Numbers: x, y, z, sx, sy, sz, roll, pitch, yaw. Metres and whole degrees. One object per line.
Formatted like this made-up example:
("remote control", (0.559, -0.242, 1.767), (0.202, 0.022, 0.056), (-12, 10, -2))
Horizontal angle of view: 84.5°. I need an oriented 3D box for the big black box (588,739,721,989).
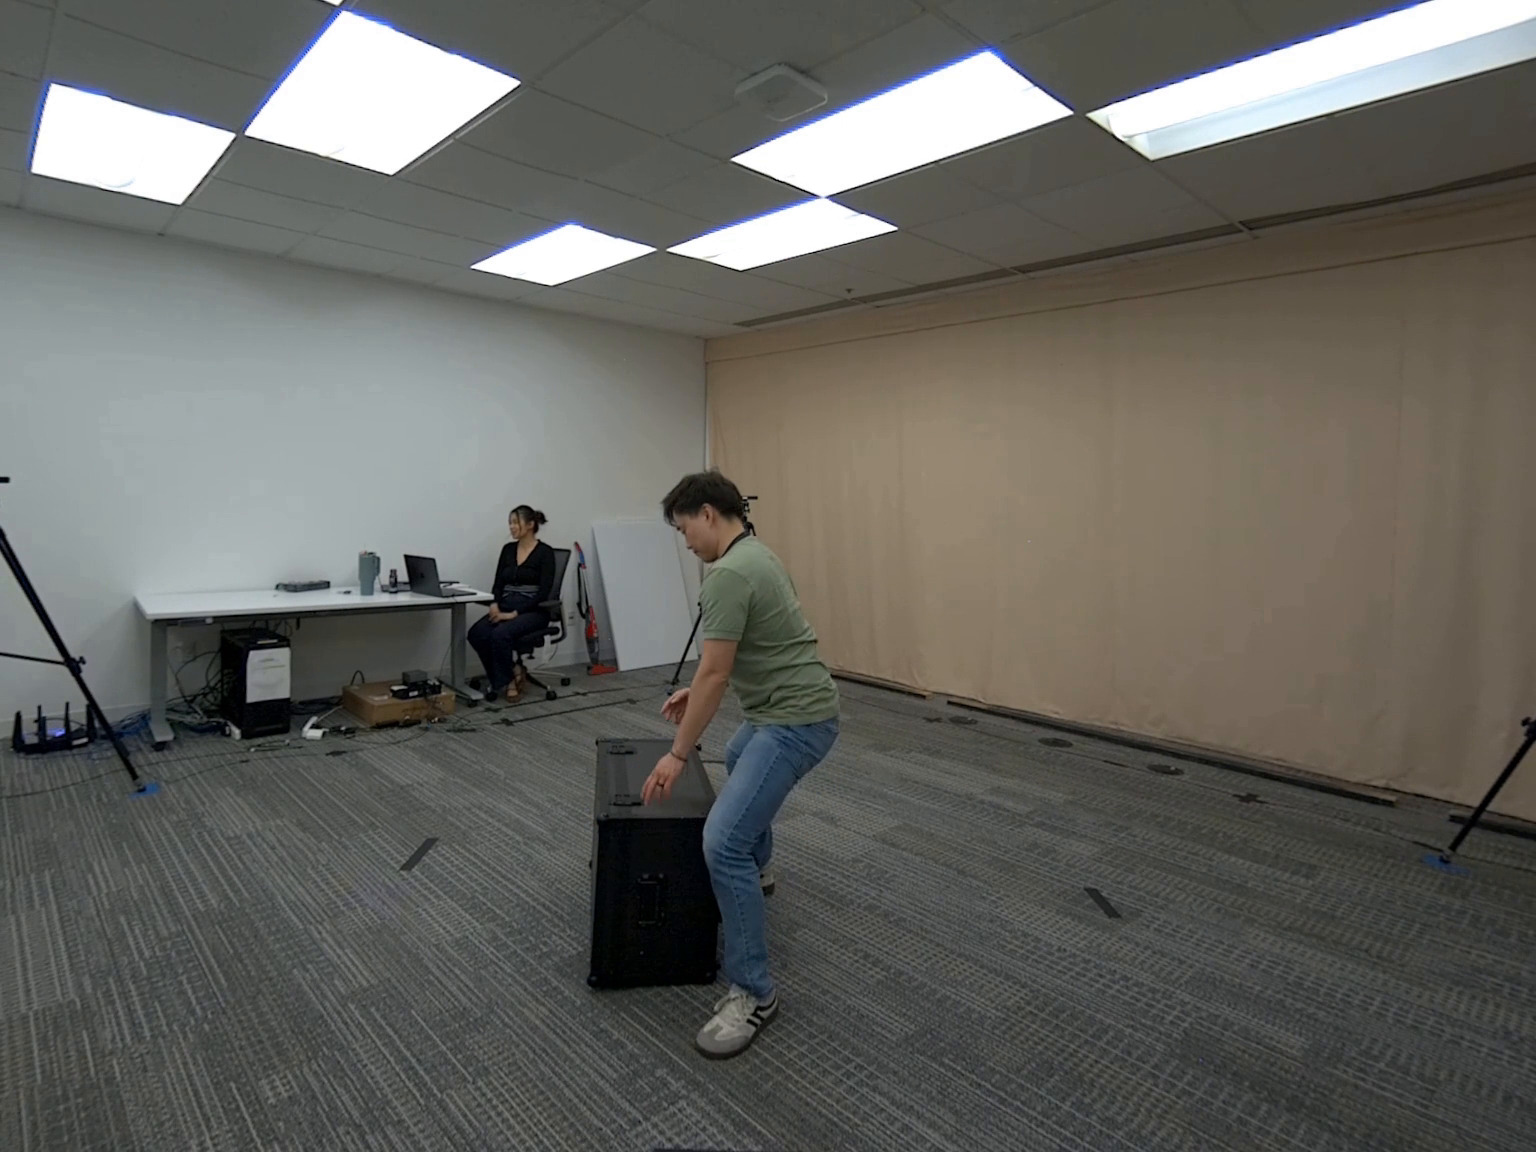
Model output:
("big black box", (-0.387, 0.870, 2.777), (0.393, 0.520, 0.872), (3, 5, -12))
